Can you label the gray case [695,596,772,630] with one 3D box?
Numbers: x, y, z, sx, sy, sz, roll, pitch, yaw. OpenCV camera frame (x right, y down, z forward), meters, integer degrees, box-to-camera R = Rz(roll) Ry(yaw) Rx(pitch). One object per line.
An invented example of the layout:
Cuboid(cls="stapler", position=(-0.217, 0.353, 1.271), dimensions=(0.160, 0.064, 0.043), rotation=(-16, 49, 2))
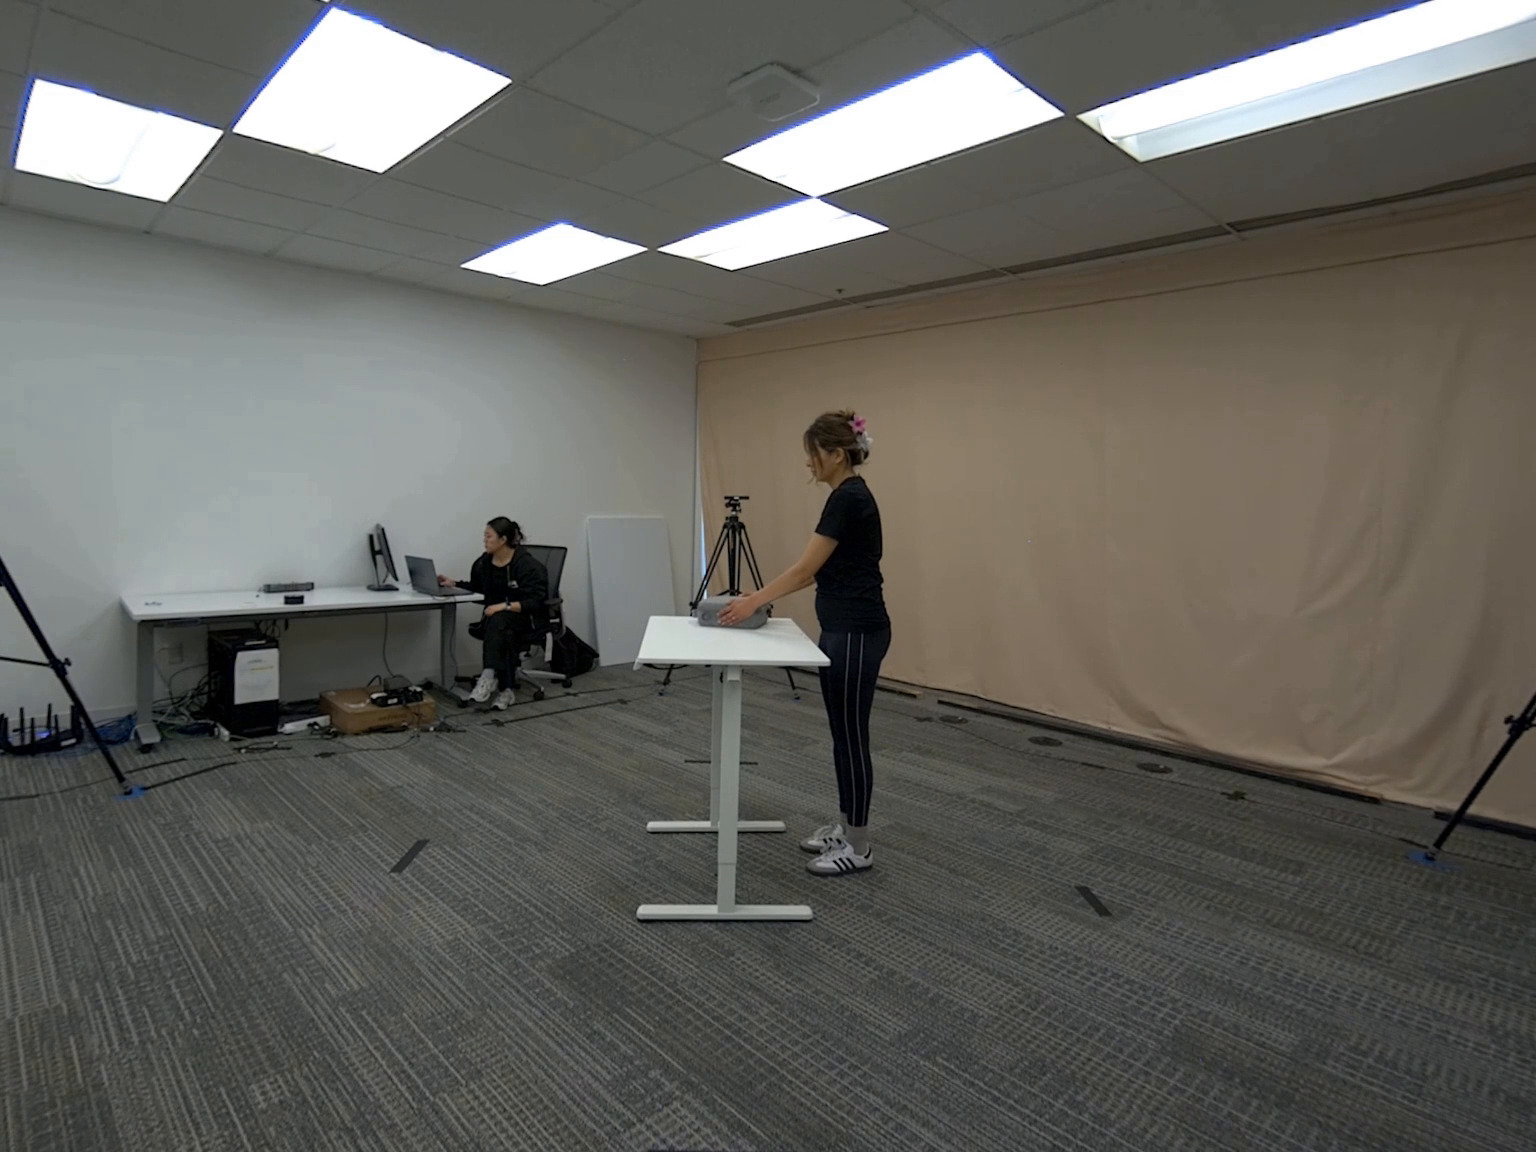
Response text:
Cuboid(cls="gray case", position=(-0.148, 0.145, 3.412), dimensions=(0.263, 0.104, 0.255), rotation=(2, 5, 12))
